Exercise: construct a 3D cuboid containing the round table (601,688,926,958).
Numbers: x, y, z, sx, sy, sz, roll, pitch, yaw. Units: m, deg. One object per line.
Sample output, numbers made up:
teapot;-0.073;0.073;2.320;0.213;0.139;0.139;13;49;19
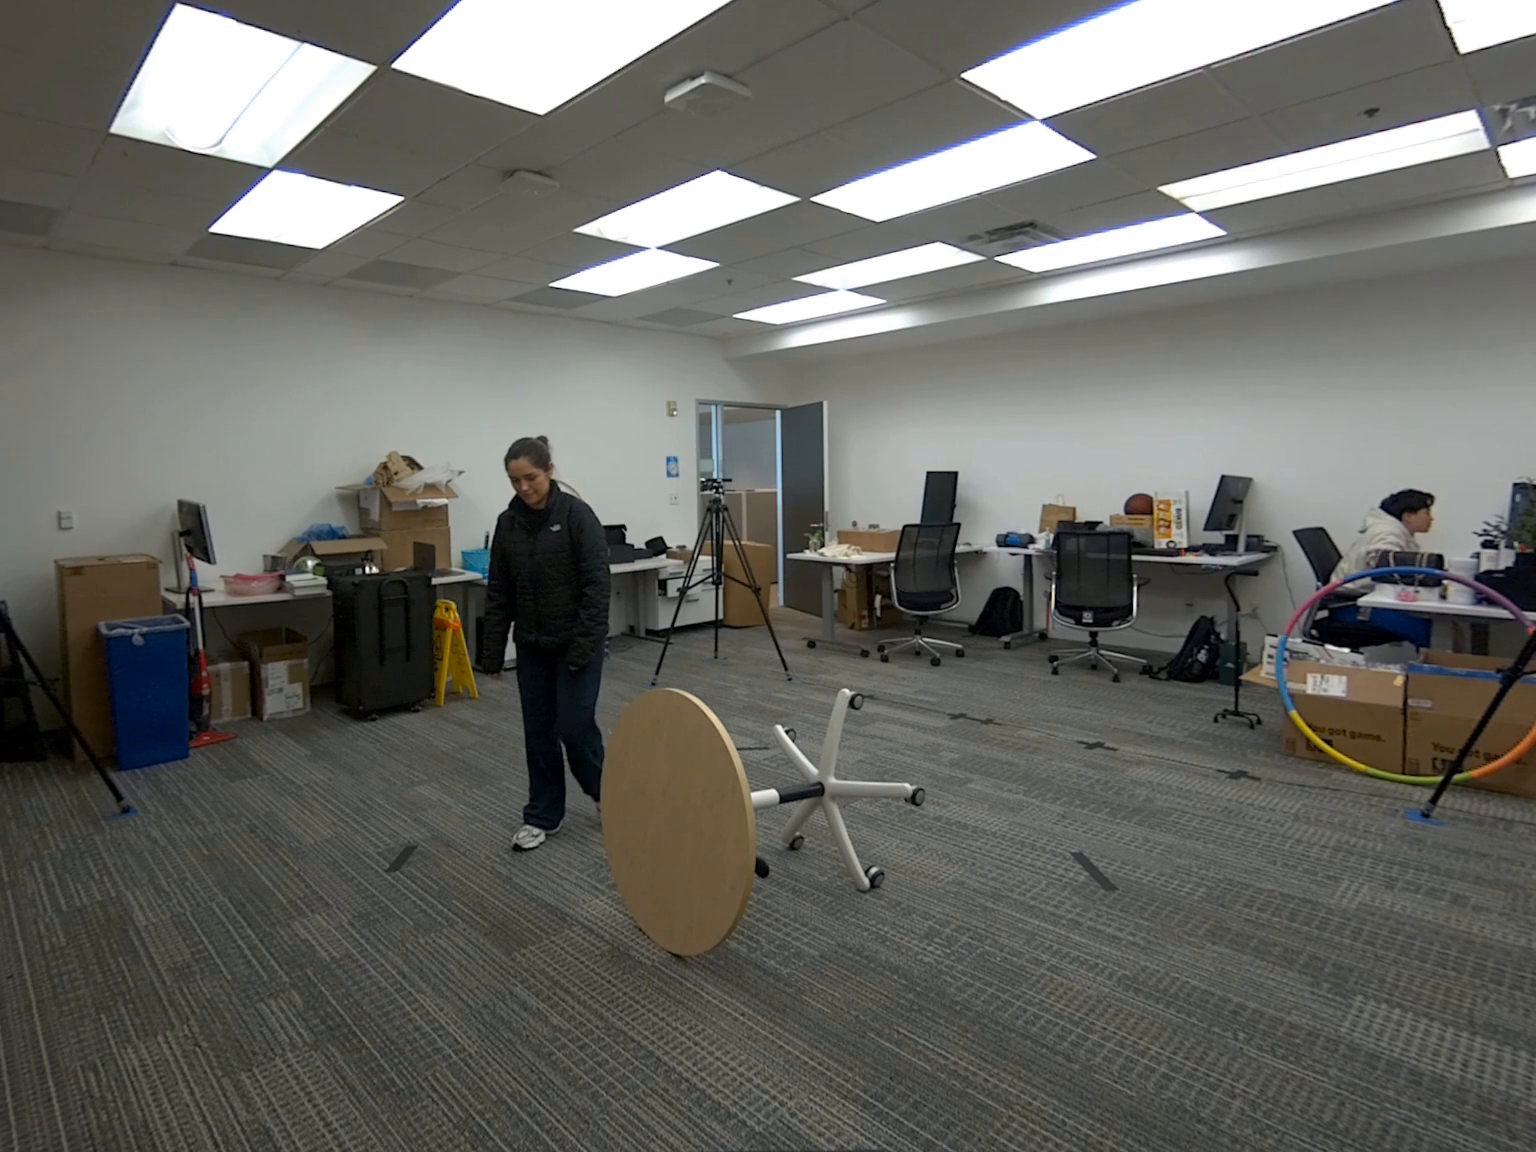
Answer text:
round table;-0.006;0.737;2.830;0.763;0.785;0.809;2;2;-40
